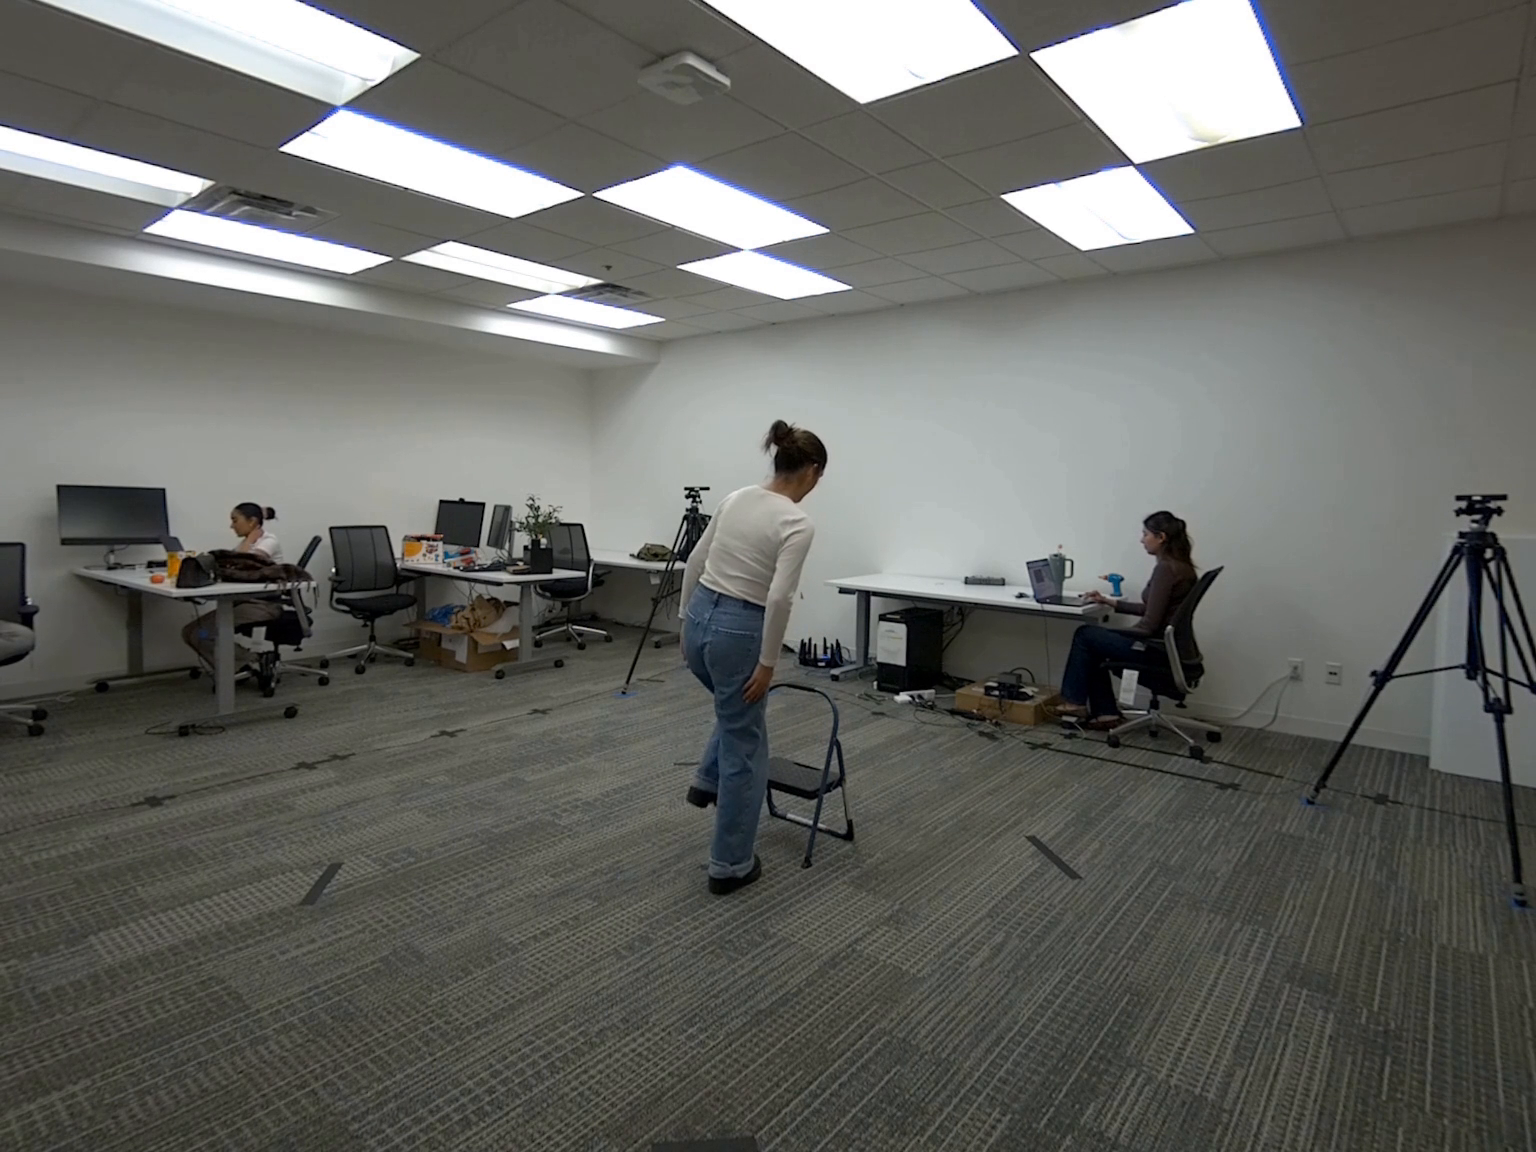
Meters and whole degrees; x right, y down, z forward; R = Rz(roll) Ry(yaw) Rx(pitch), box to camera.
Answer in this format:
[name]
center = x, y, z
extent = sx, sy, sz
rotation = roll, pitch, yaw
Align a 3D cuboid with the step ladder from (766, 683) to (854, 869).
[step ladder]
center = 0.076, 0.739, 3.372
extent = 0.445, 0.604, 0.339
rotation = 4, 5, 38
